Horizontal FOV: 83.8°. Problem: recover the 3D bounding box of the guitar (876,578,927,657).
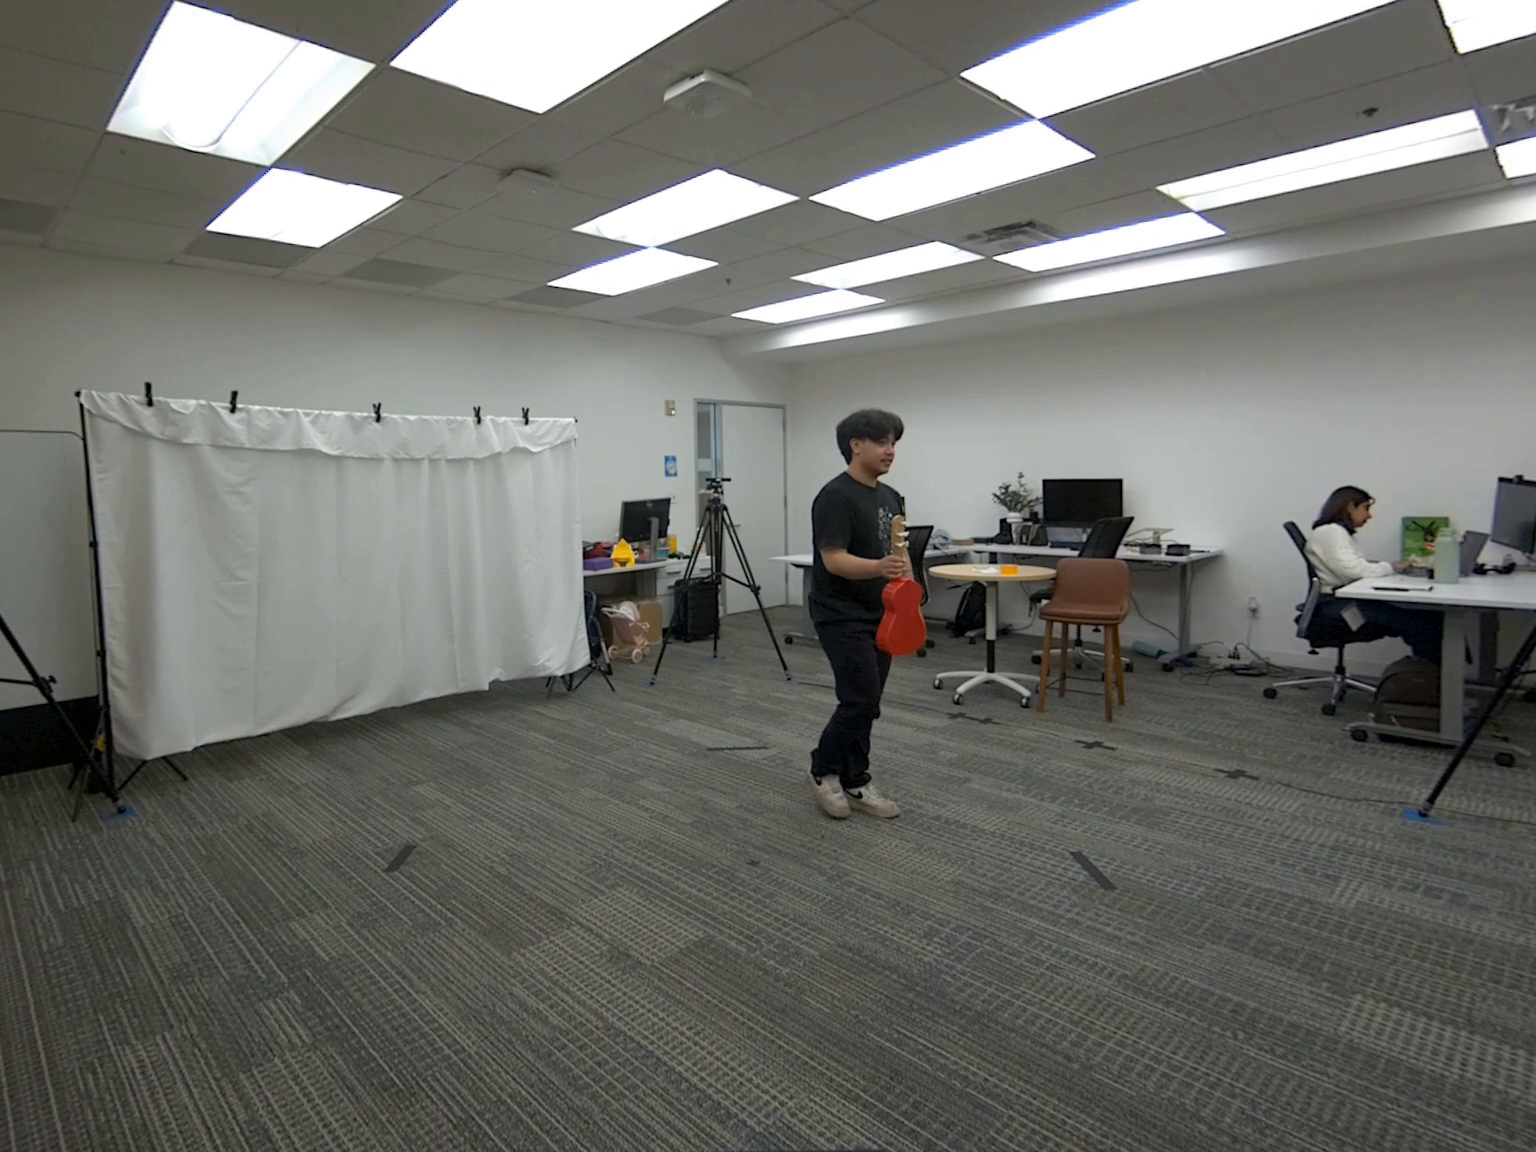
[{"bbox_3d":[0.461,0.049,3.071,0.190,0.490,0.073,-18,18,-31],"label":"guitar"}]
